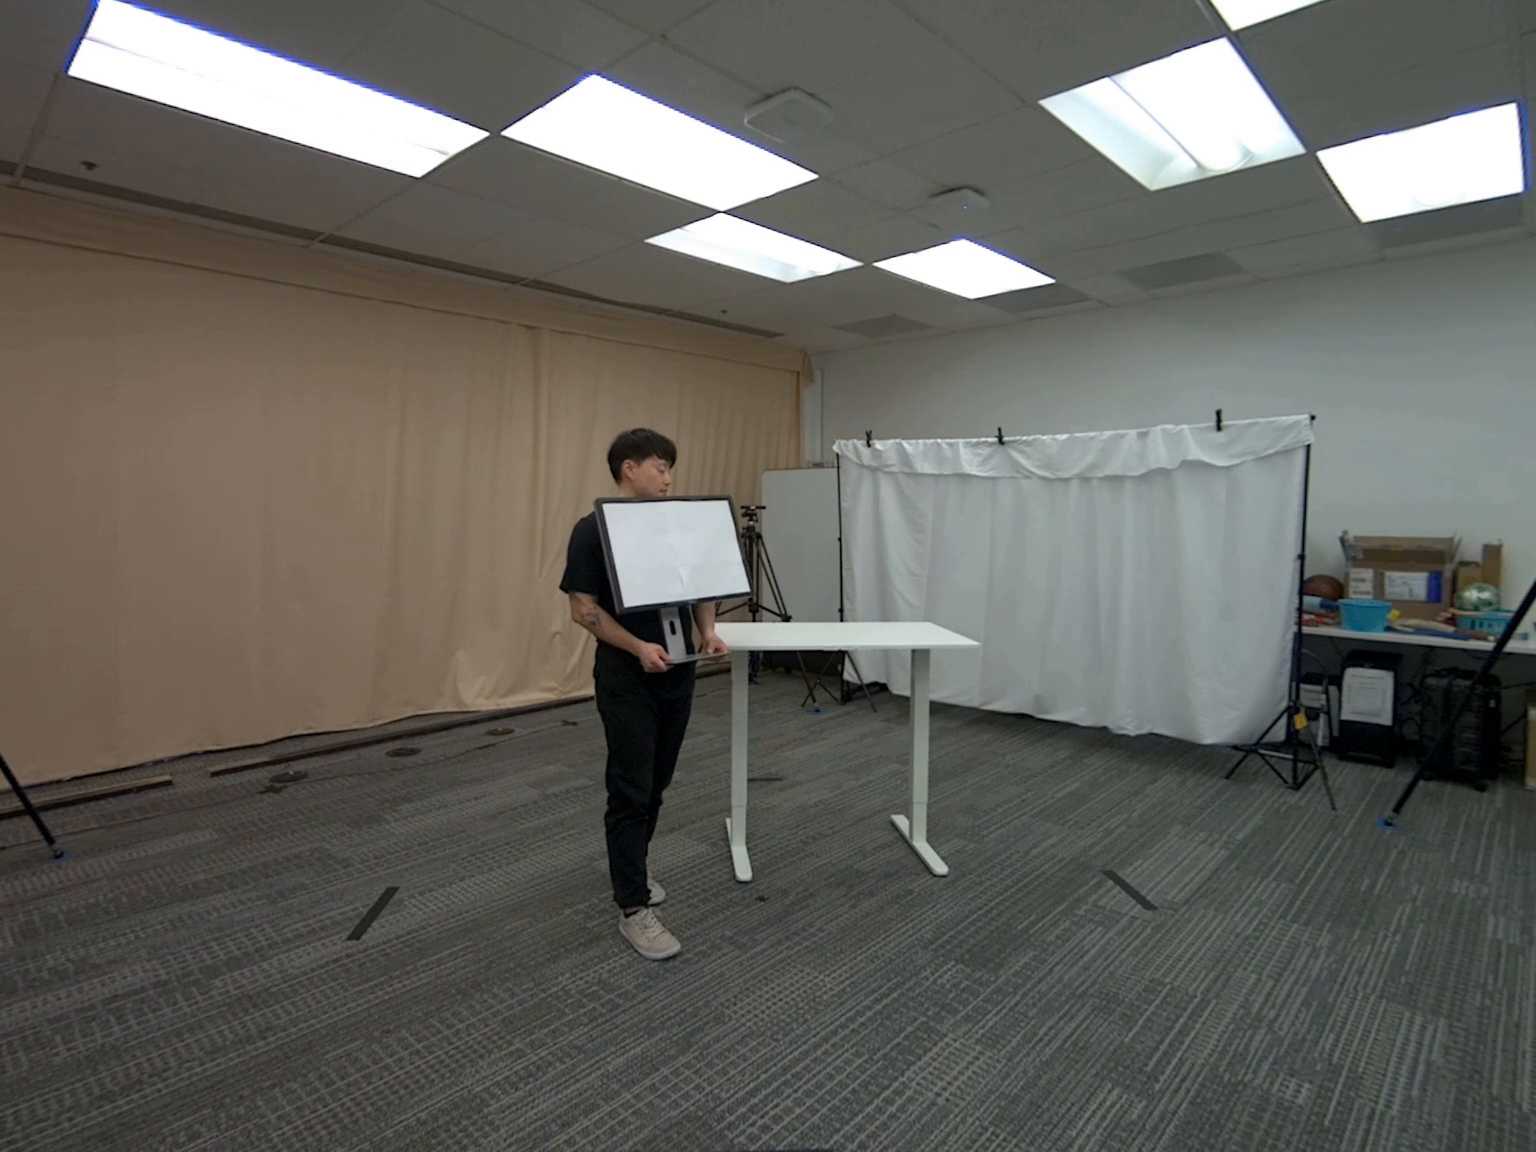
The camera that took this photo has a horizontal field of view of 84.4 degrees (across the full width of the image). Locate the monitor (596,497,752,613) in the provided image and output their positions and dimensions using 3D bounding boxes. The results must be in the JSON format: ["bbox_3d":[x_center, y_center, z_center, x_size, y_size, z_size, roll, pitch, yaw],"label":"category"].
[{"bbox_3d":[-0.301,0.006,2.750,0.523,0.523,0.193,-6,-1,-45],"label":"monitor"}]
